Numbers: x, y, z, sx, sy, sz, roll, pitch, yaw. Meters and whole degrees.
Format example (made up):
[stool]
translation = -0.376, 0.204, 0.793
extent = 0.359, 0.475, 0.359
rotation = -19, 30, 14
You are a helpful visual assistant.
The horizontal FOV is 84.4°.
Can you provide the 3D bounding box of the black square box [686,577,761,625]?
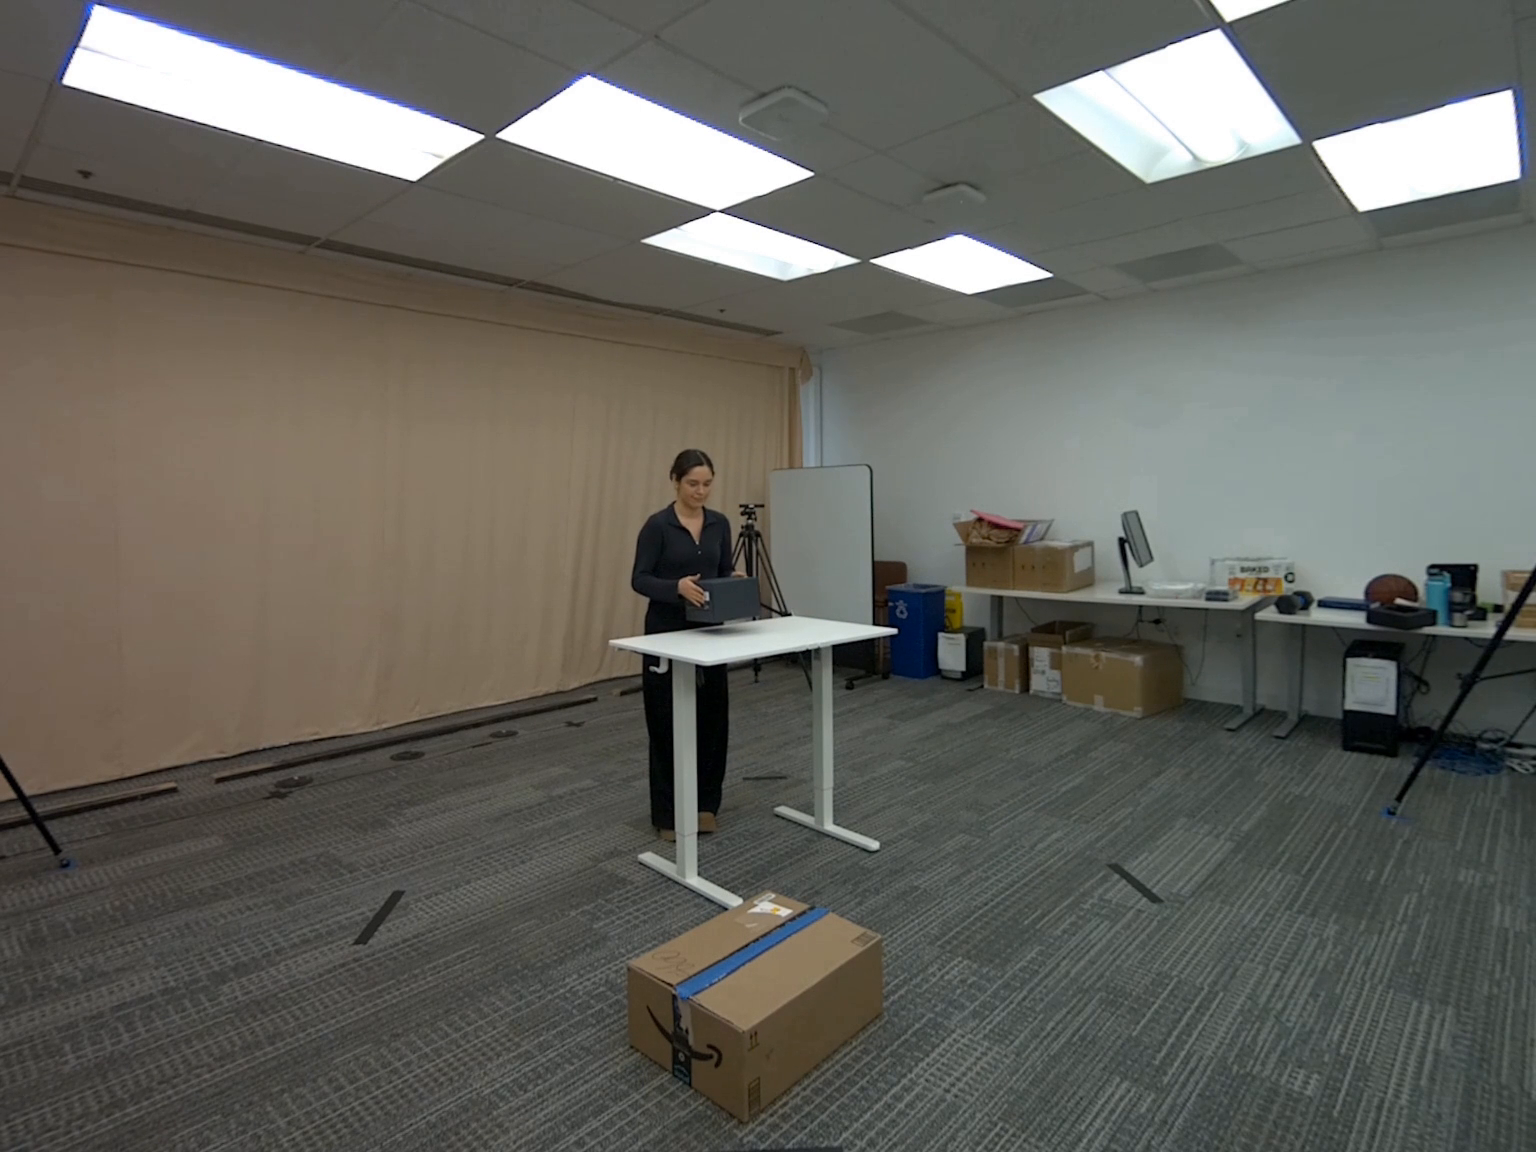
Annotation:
[black square box]
translation = -0.180, 0.093, 3.405
extent = 0.221, 0.155, 0.223
rotation = -7, 4, -35
